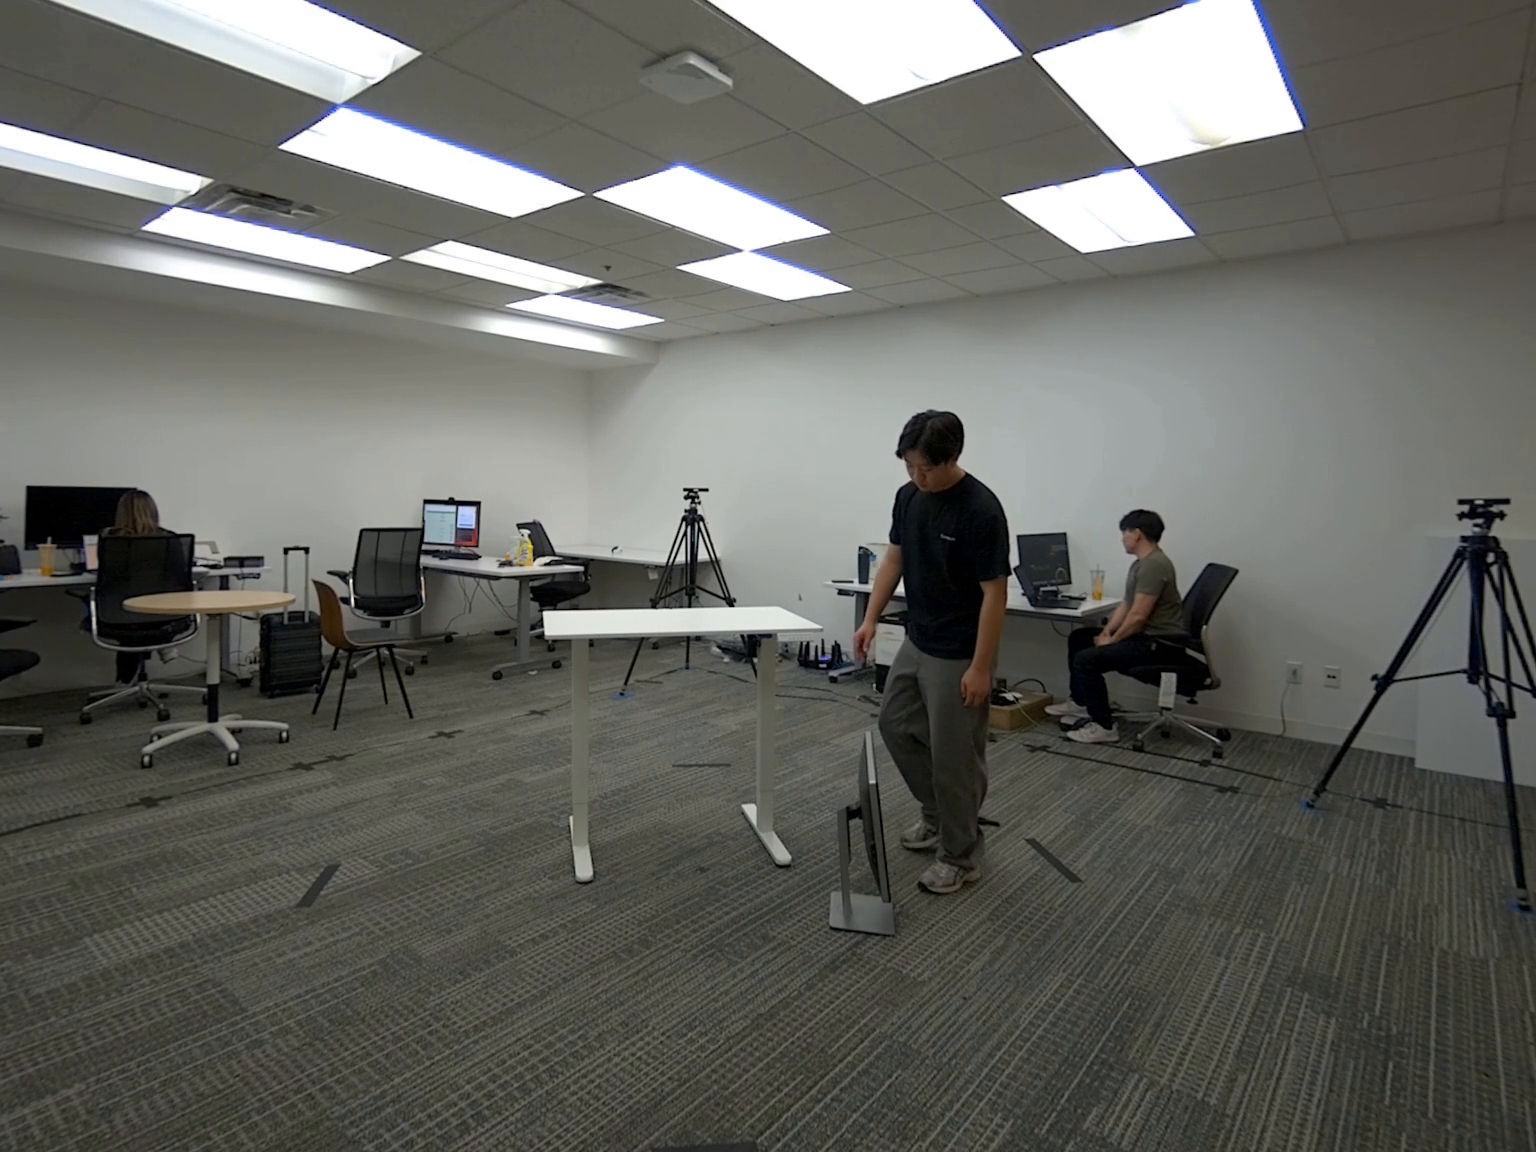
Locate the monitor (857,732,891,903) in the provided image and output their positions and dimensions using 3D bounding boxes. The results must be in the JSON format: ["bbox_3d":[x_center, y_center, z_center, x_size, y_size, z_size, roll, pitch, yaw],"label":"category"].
[{"bbox_3d":[0.316,0.857,2.790,0.224,0.564,0.557,6,4,8],"label":"monitor"}]
